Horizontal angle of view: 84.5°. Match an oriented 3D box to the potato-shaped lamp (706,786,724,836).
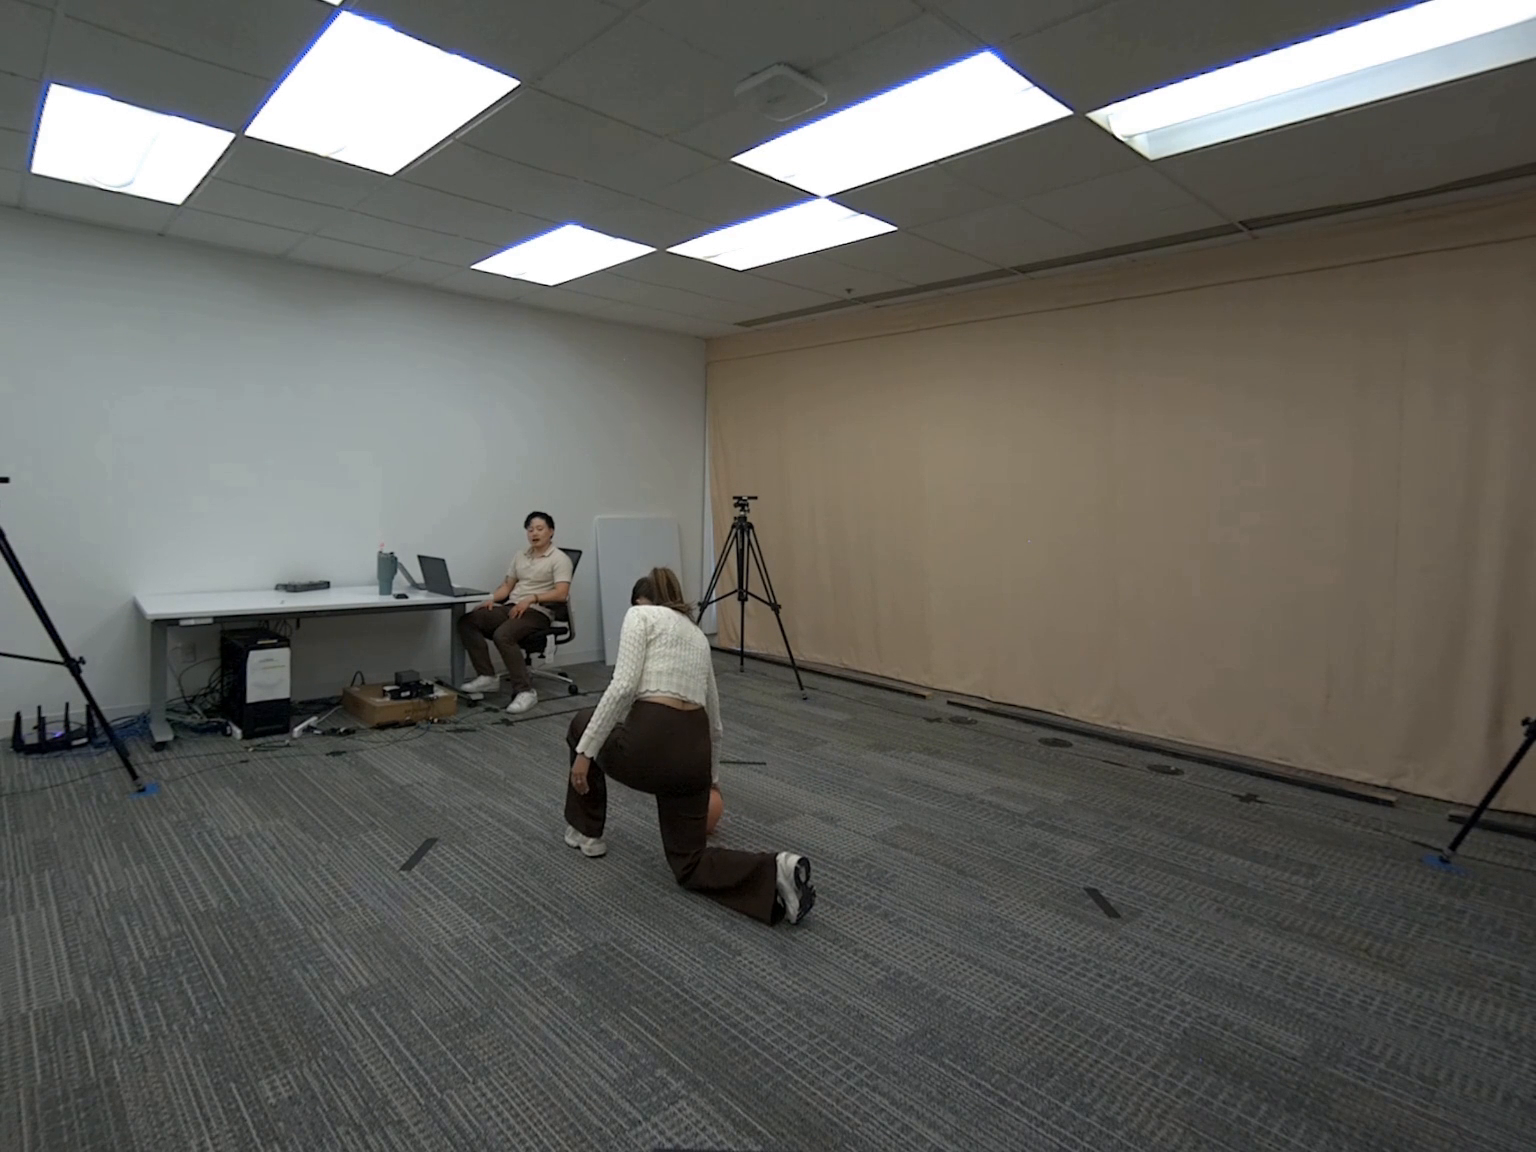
[{"bbox_3d":[-0.280,0.959,3.475,0.162,0.197,0.175,20,30,-16],"label":"potato-shaped lamp"}]
